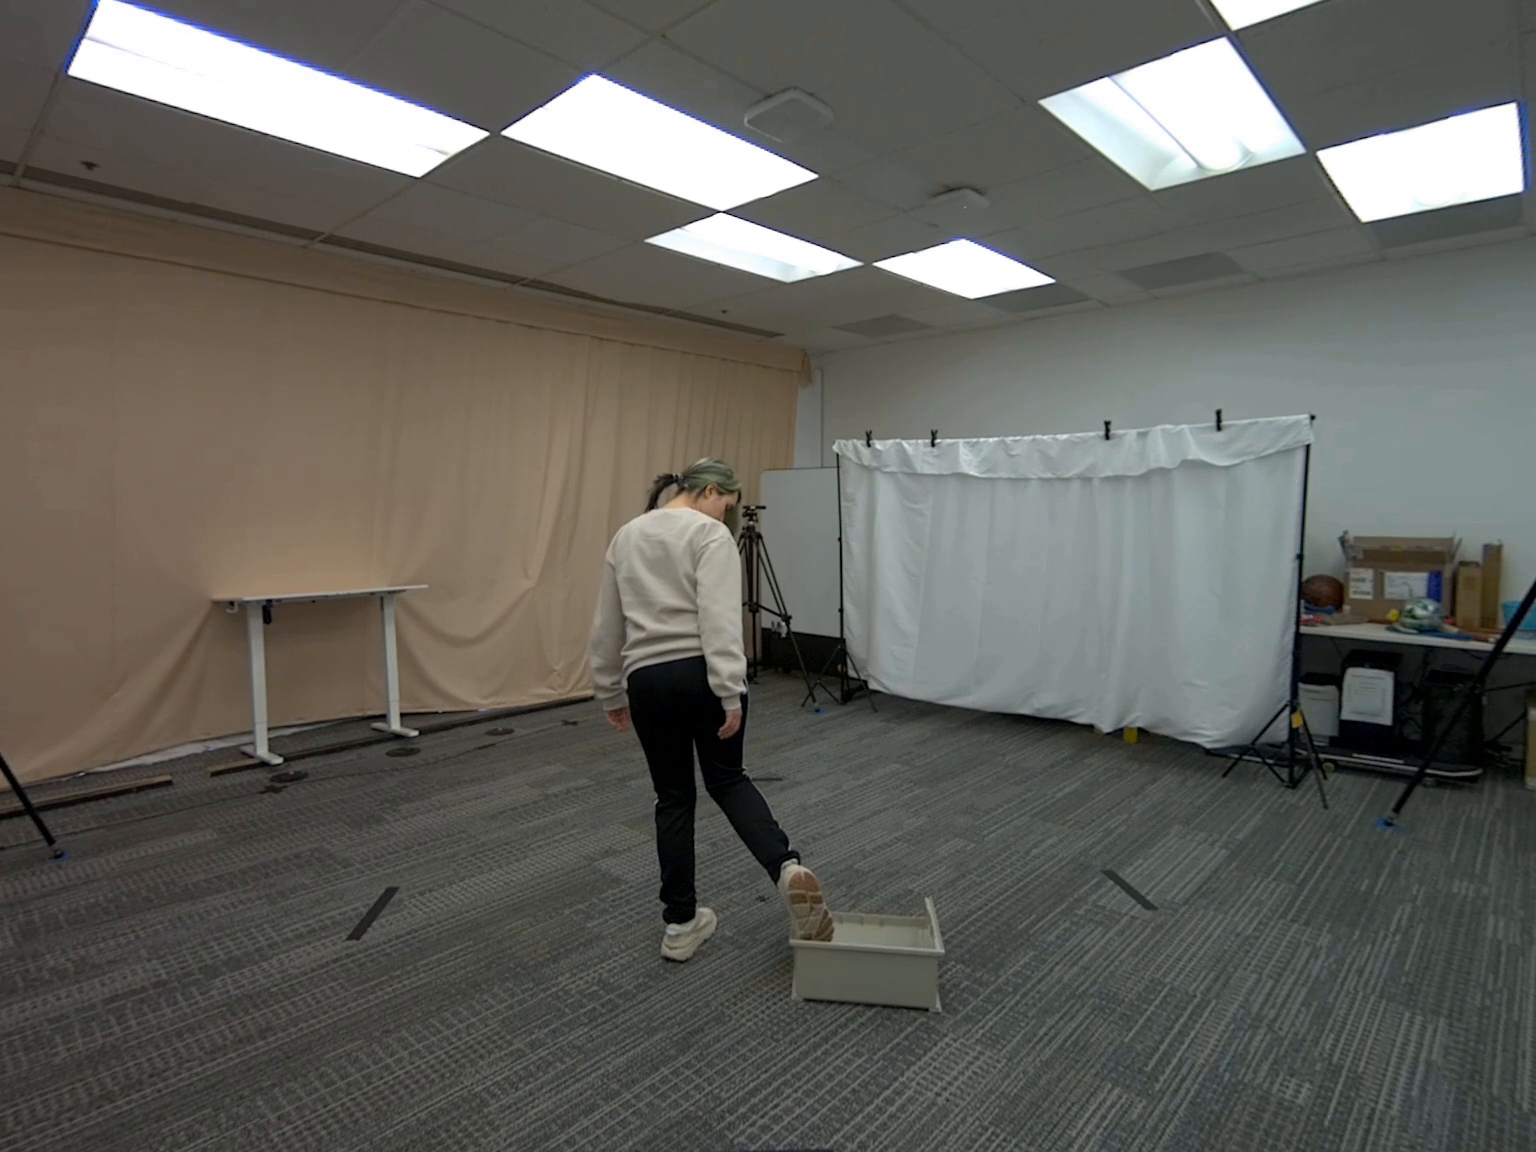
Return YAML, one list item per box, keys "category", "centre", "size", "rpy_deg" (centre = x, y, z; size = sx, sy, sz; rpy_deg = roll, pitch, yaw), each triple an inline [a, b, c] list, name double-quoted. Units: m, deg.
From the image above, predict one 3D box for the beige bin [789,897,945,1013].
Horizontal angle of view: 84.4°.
- category: "beige bin"
  centre: [0.288, 1.096, 2.501]
  size: [0.426, 0.188, 0.375]
  rpy_deg: [0, 5, 7]
